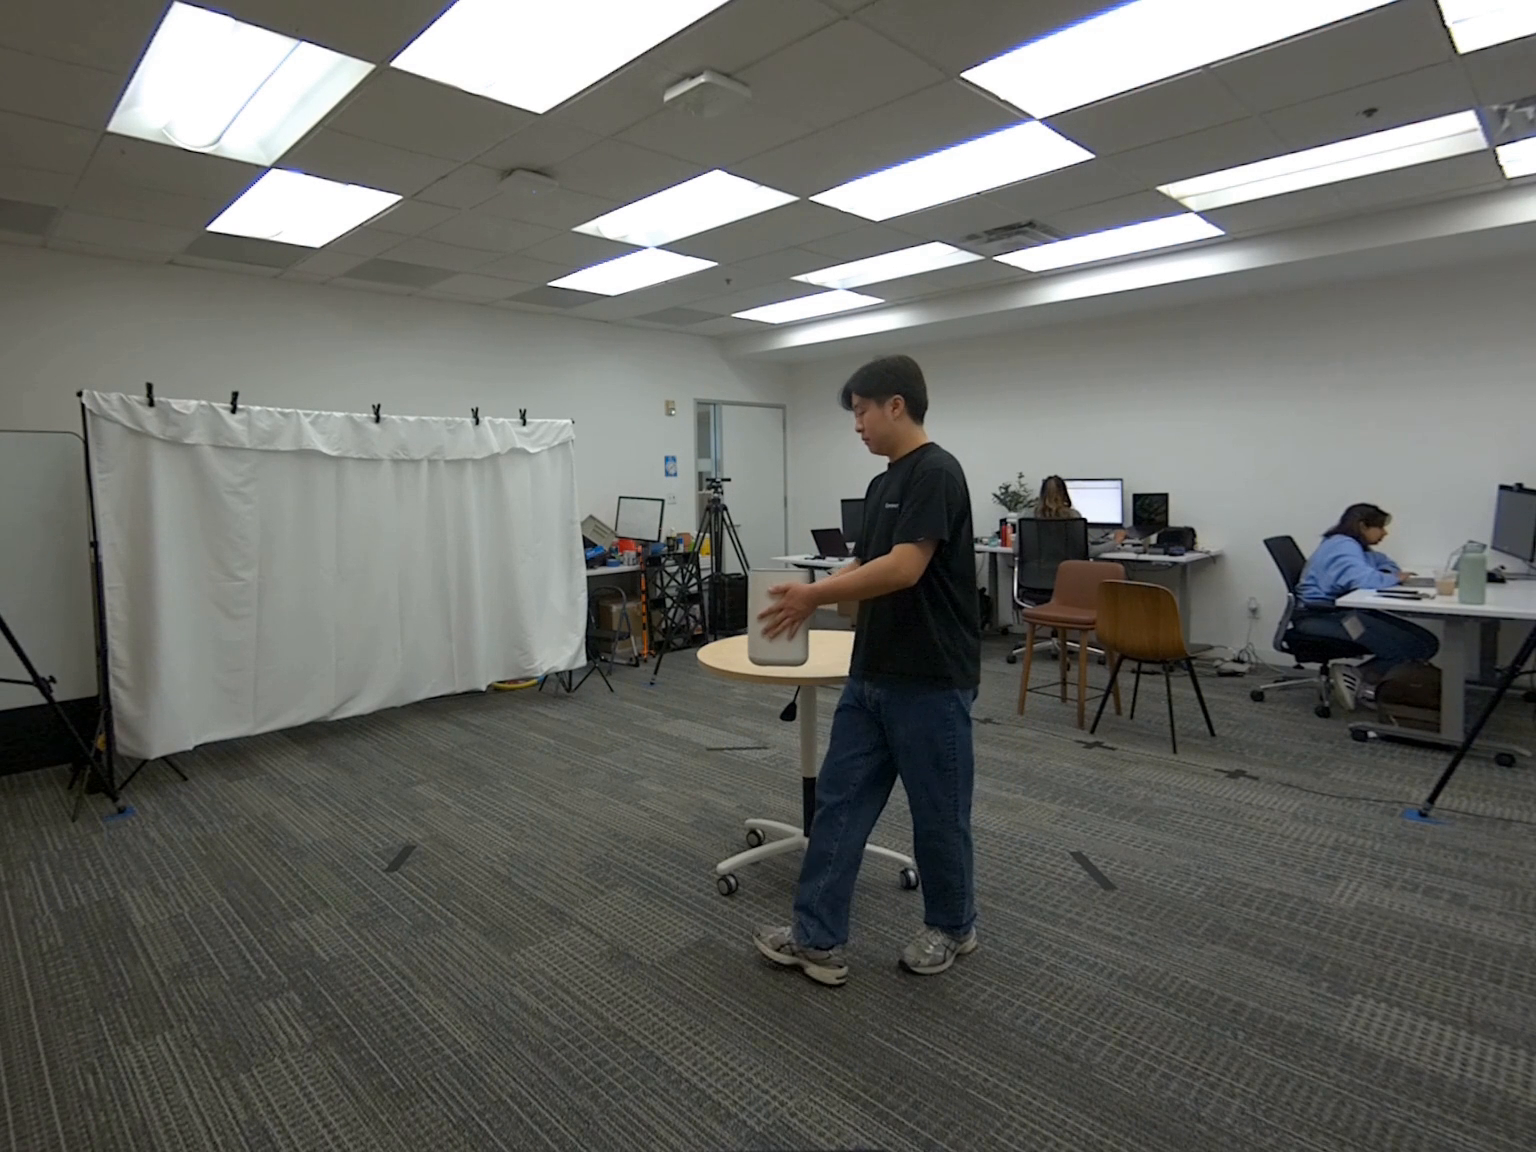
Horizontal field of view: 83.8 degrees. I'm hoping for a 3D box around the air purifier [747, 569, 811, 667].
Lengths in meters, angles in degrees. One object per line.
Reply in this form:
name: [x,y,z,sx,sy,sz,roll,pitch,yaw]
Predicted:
air purifier: [0.036,0.113,2.391,0.172,0.266,0.170,0,-2,7]
